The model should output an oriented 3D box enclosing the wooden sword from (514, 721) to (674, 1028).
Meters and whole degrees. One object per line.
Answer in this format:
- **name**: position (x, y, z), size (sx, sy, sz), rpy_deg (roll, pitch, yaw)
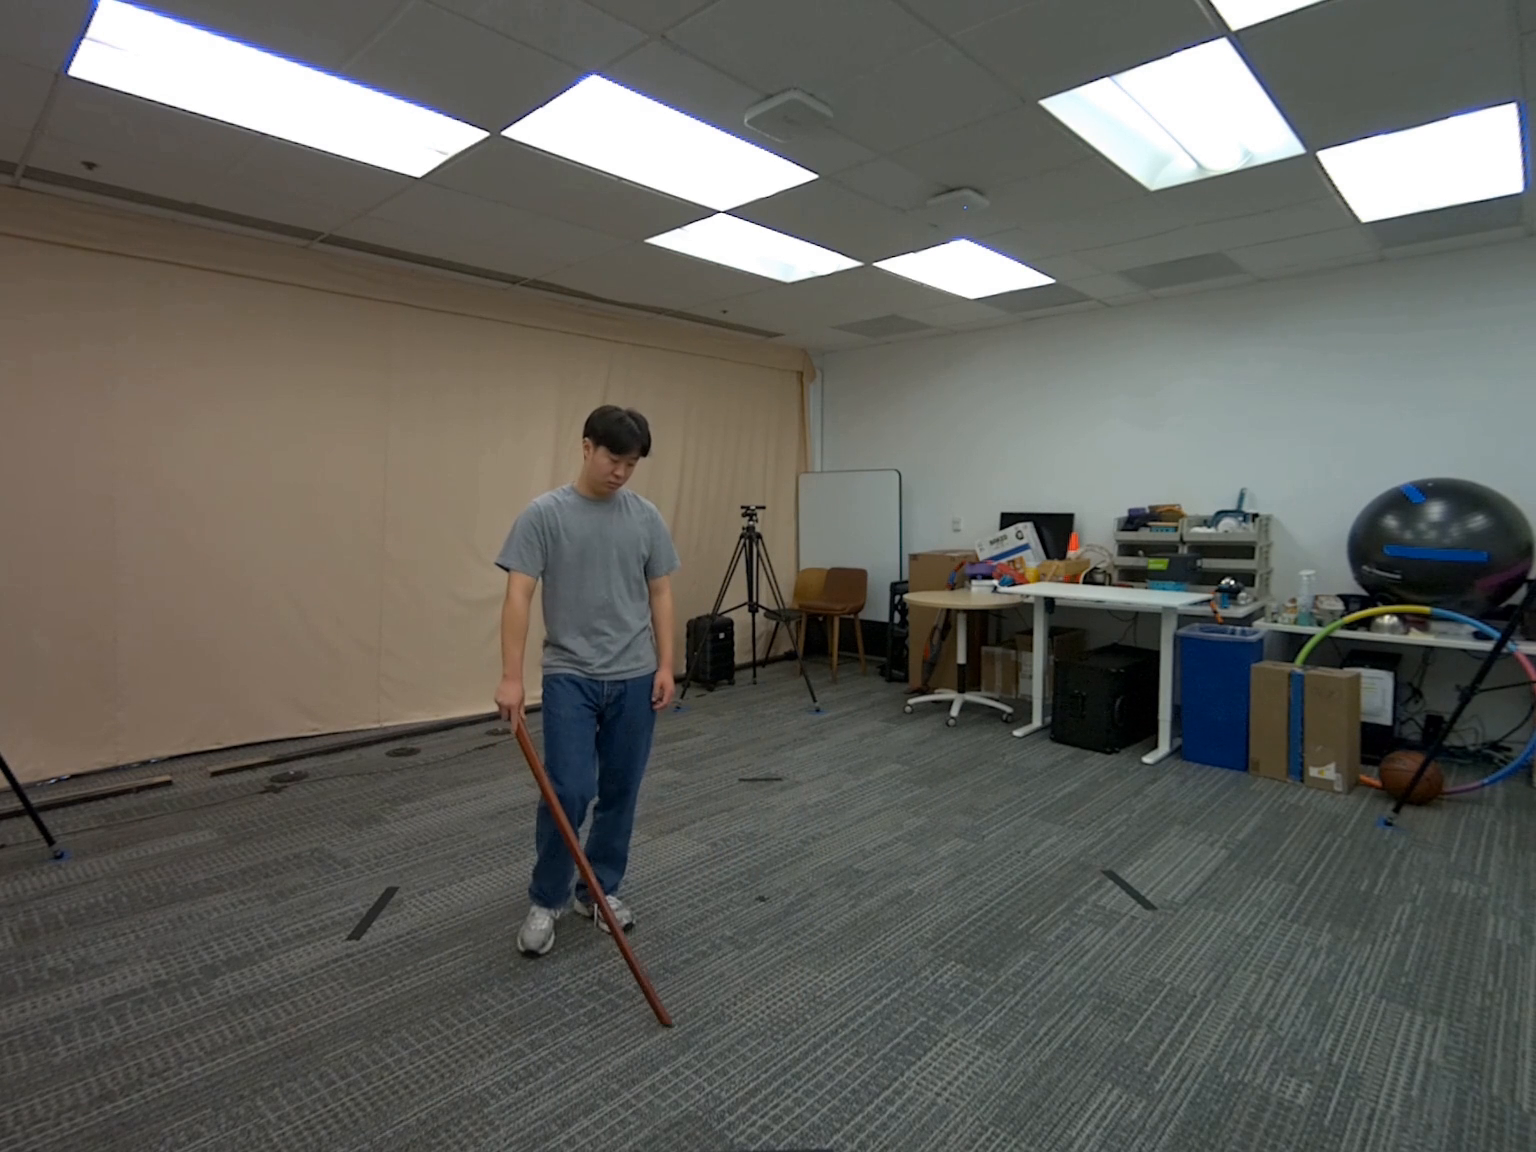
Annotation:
- **wooden sword**: position (-0.538, 0.798, 2.415), size (0.052, 1.047, 0.023), rpy_deg (-43, -21, 22)
